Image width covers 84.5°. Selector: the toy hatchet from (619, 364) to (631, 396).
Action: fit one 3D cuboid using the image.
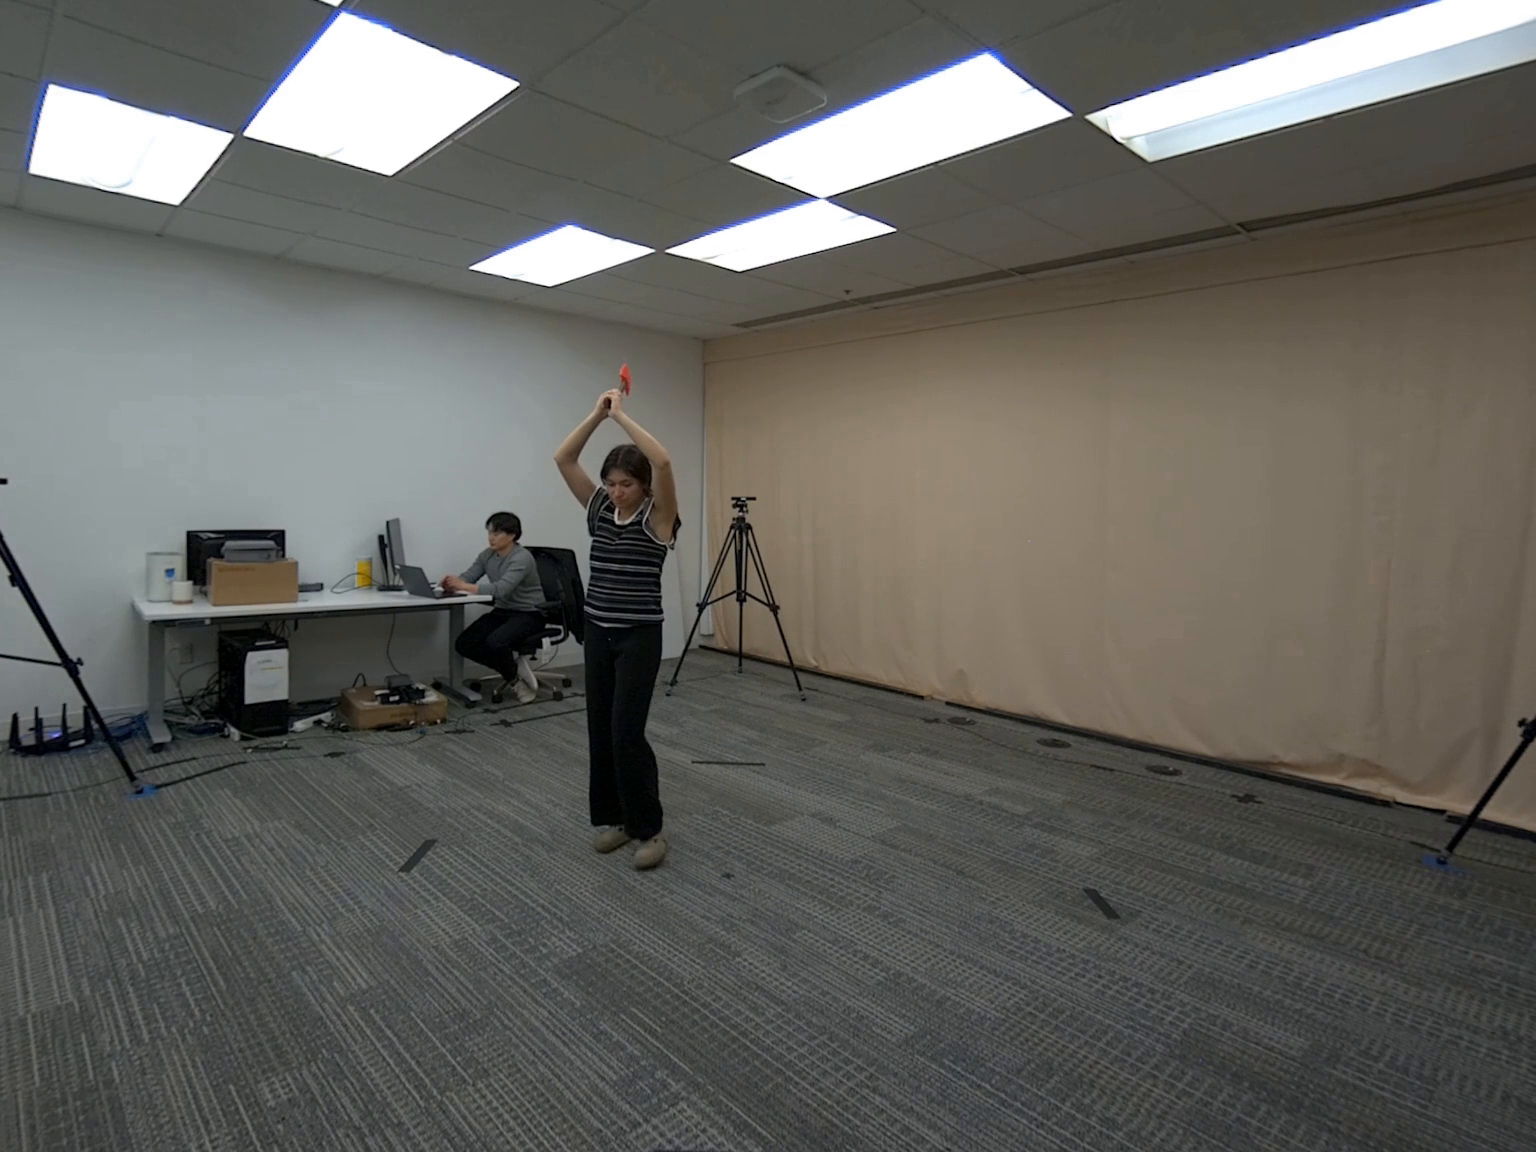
[{"bbox_3d":[-0.572,-0.718,3.154,0.030,0.129,0.272,7,23,5],"label":"toy hatchet"}]
